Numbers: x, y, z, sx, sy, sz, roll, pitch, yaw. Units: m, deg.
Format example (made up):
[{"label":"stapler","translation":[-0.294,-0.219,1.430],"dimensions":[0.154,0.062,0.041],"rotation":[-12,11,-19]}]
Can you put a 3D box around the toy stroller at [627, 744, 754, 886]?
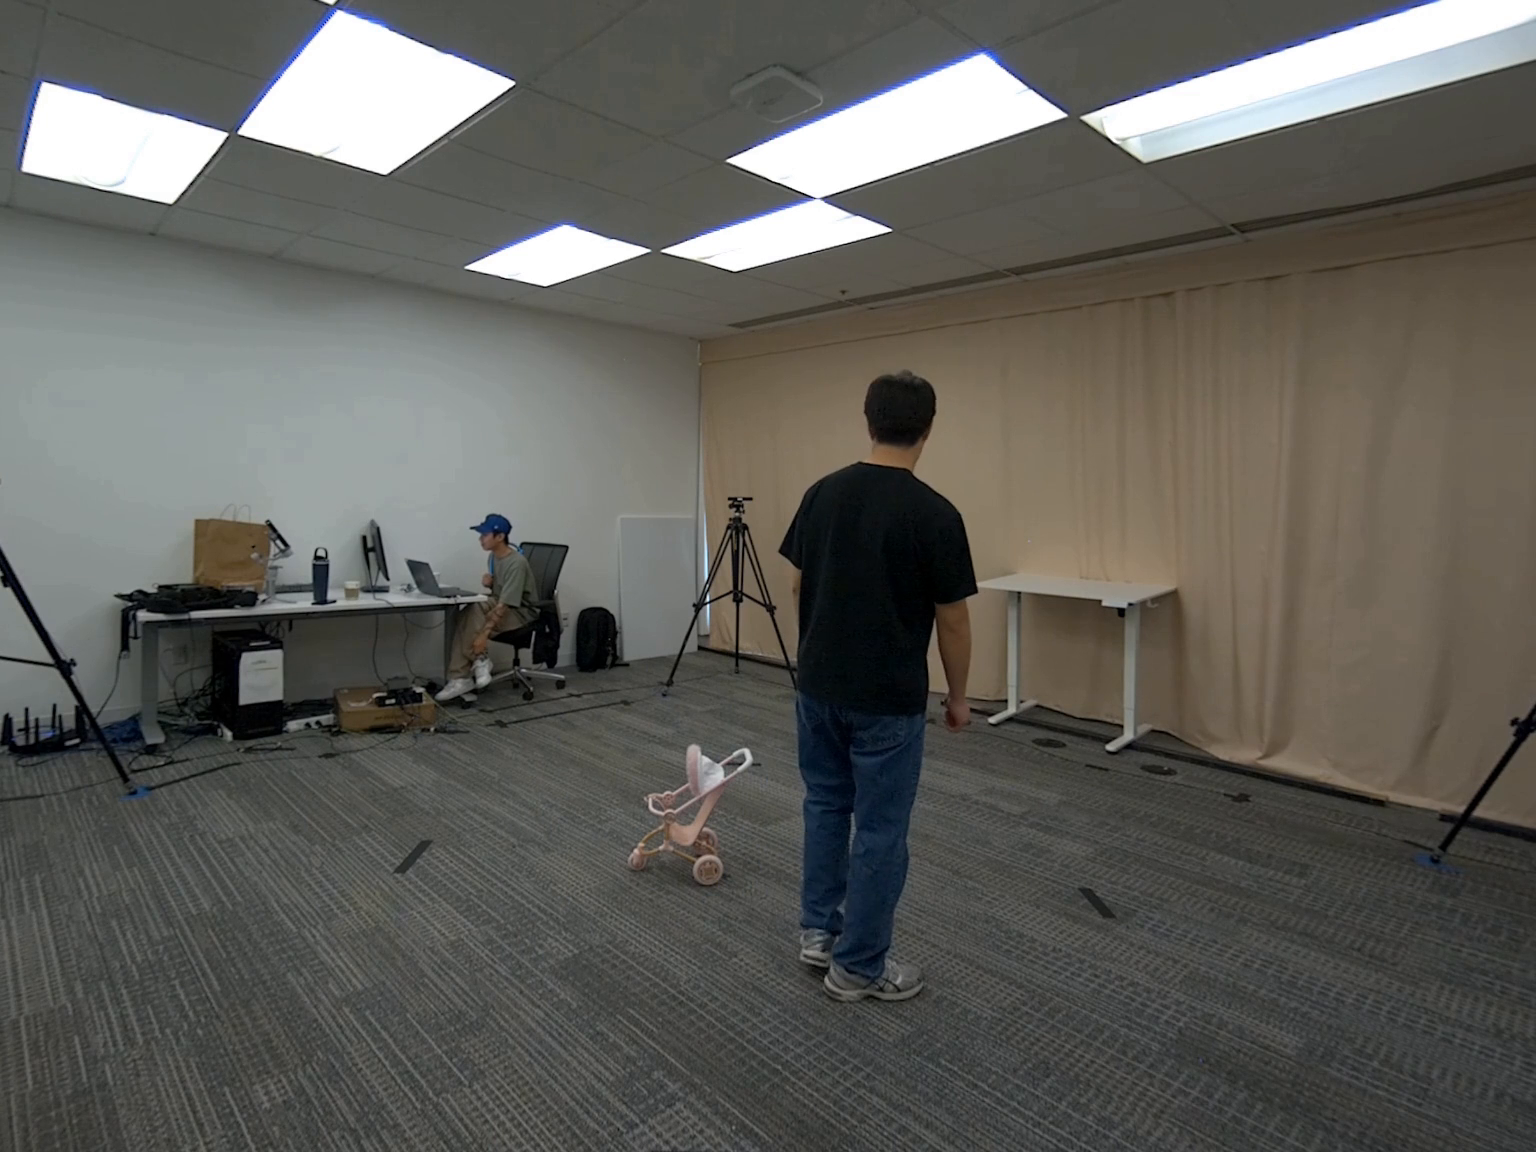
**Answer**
[{"label":"toy stroller","translation":[-0.304,0.874,3.138],"dimensions":[0.340,0.534,0.282],"rotation":[16,3,-3]}]
